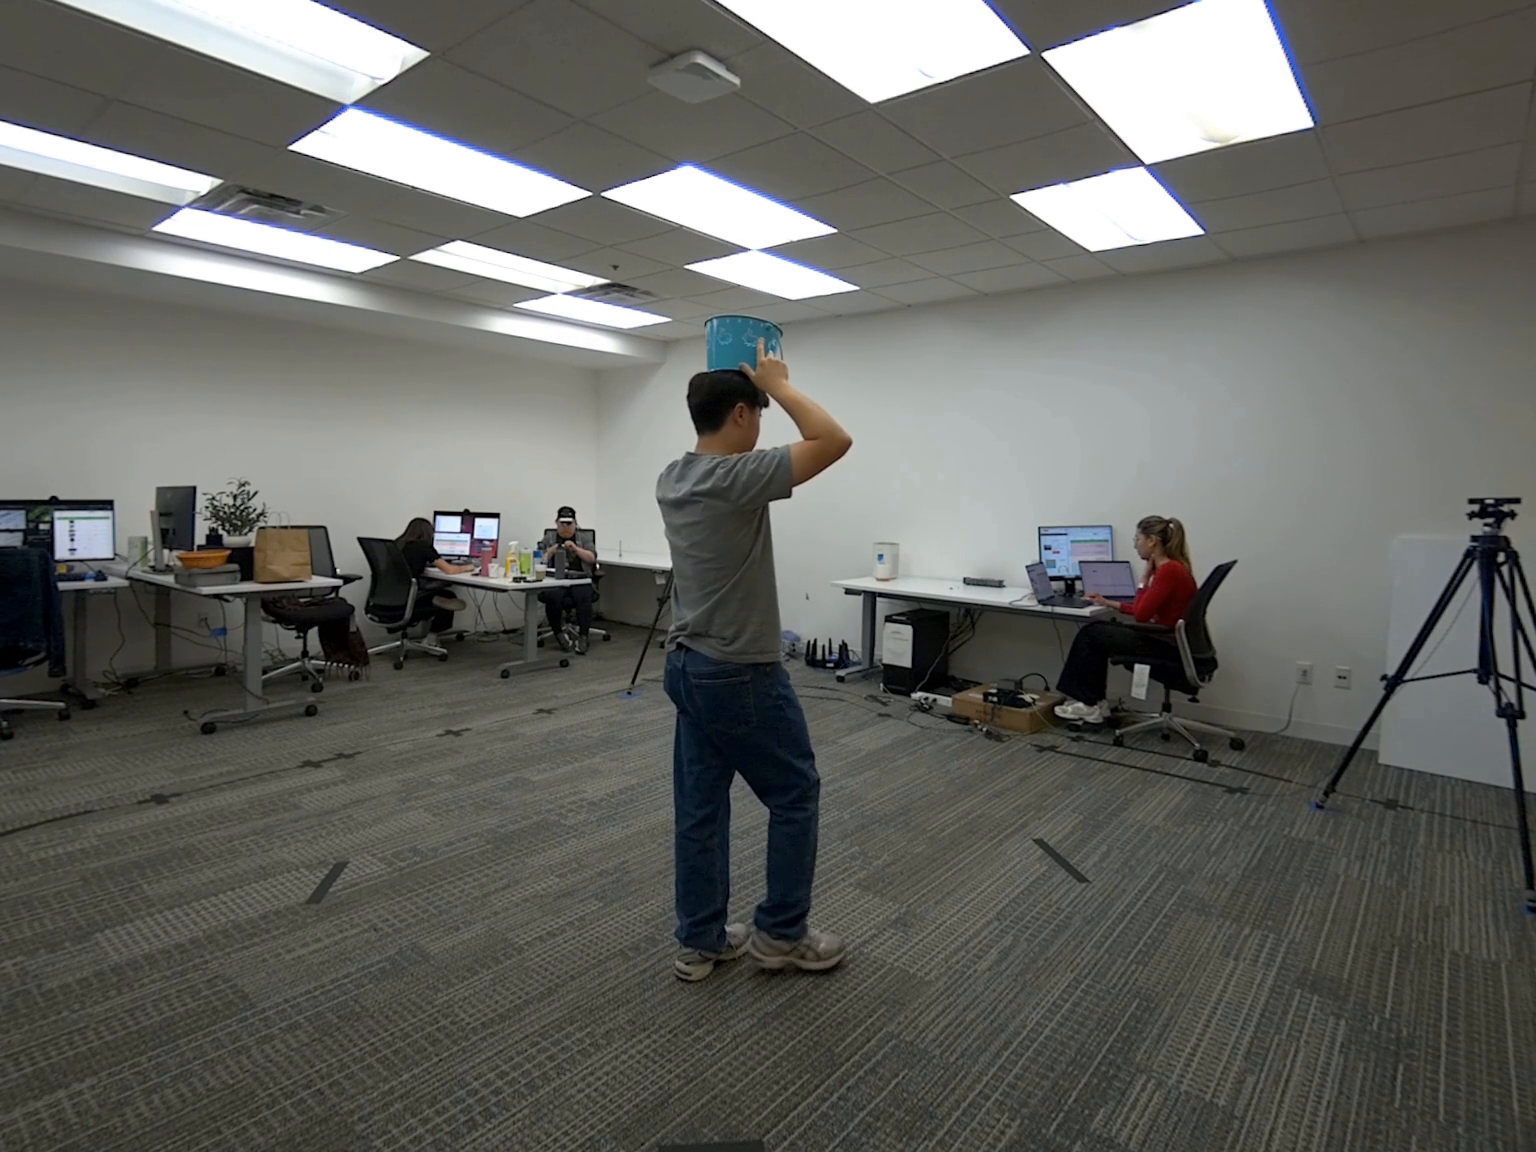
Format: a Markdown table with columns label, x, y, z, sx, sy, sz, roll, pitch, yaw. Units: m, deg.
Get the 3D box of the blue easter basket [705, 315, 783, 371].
| label | x | y | z | sx | sy | sz | roll | pitch | yaw |
| --- | --- | --- | --- | --- | --- | --- | --- | --- | --- |
| blue easter basket | -0.079 | -0.649 | 2.478 | 0.243 | 0.156 | 0.243 | 8 | -1 | -2 |
